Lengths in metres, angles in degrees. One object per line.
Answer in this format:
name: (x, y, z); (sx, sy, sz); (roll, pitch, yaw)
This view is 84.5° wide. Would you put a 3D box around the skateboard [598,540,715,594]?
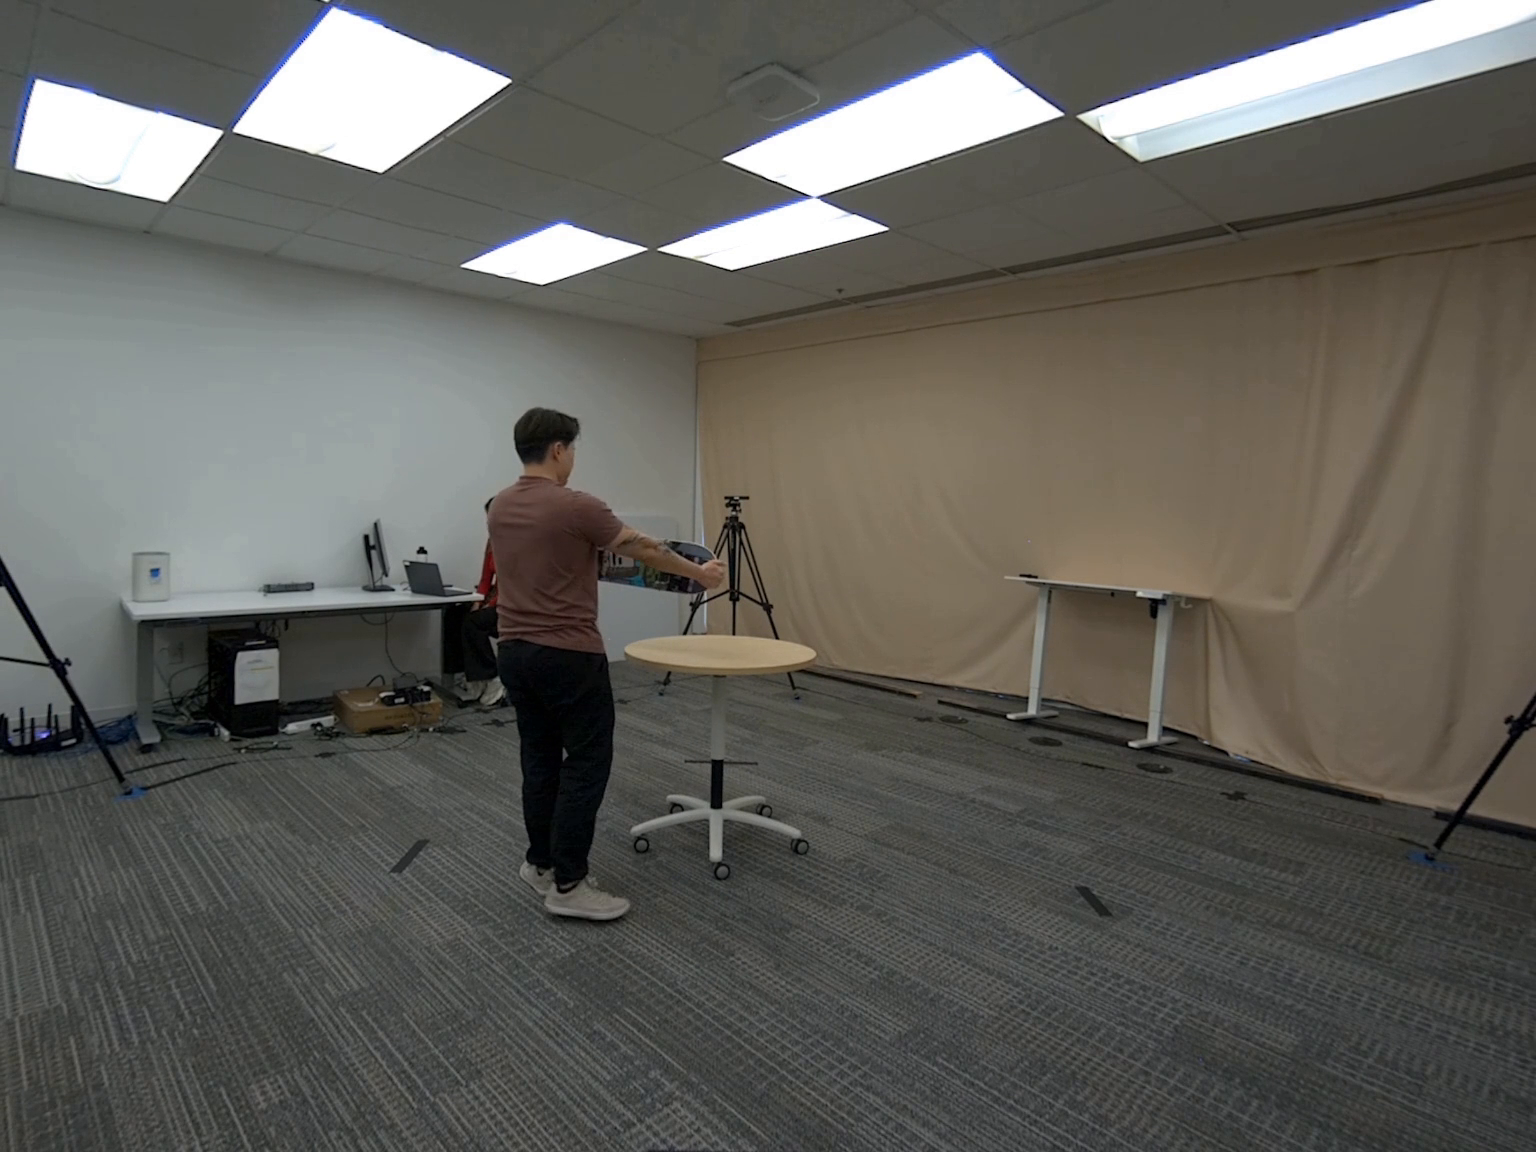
skateboard: (-0.542, -0.056, 3.255); (0.805, 0.193, 0.108); (8, 6, 34)
